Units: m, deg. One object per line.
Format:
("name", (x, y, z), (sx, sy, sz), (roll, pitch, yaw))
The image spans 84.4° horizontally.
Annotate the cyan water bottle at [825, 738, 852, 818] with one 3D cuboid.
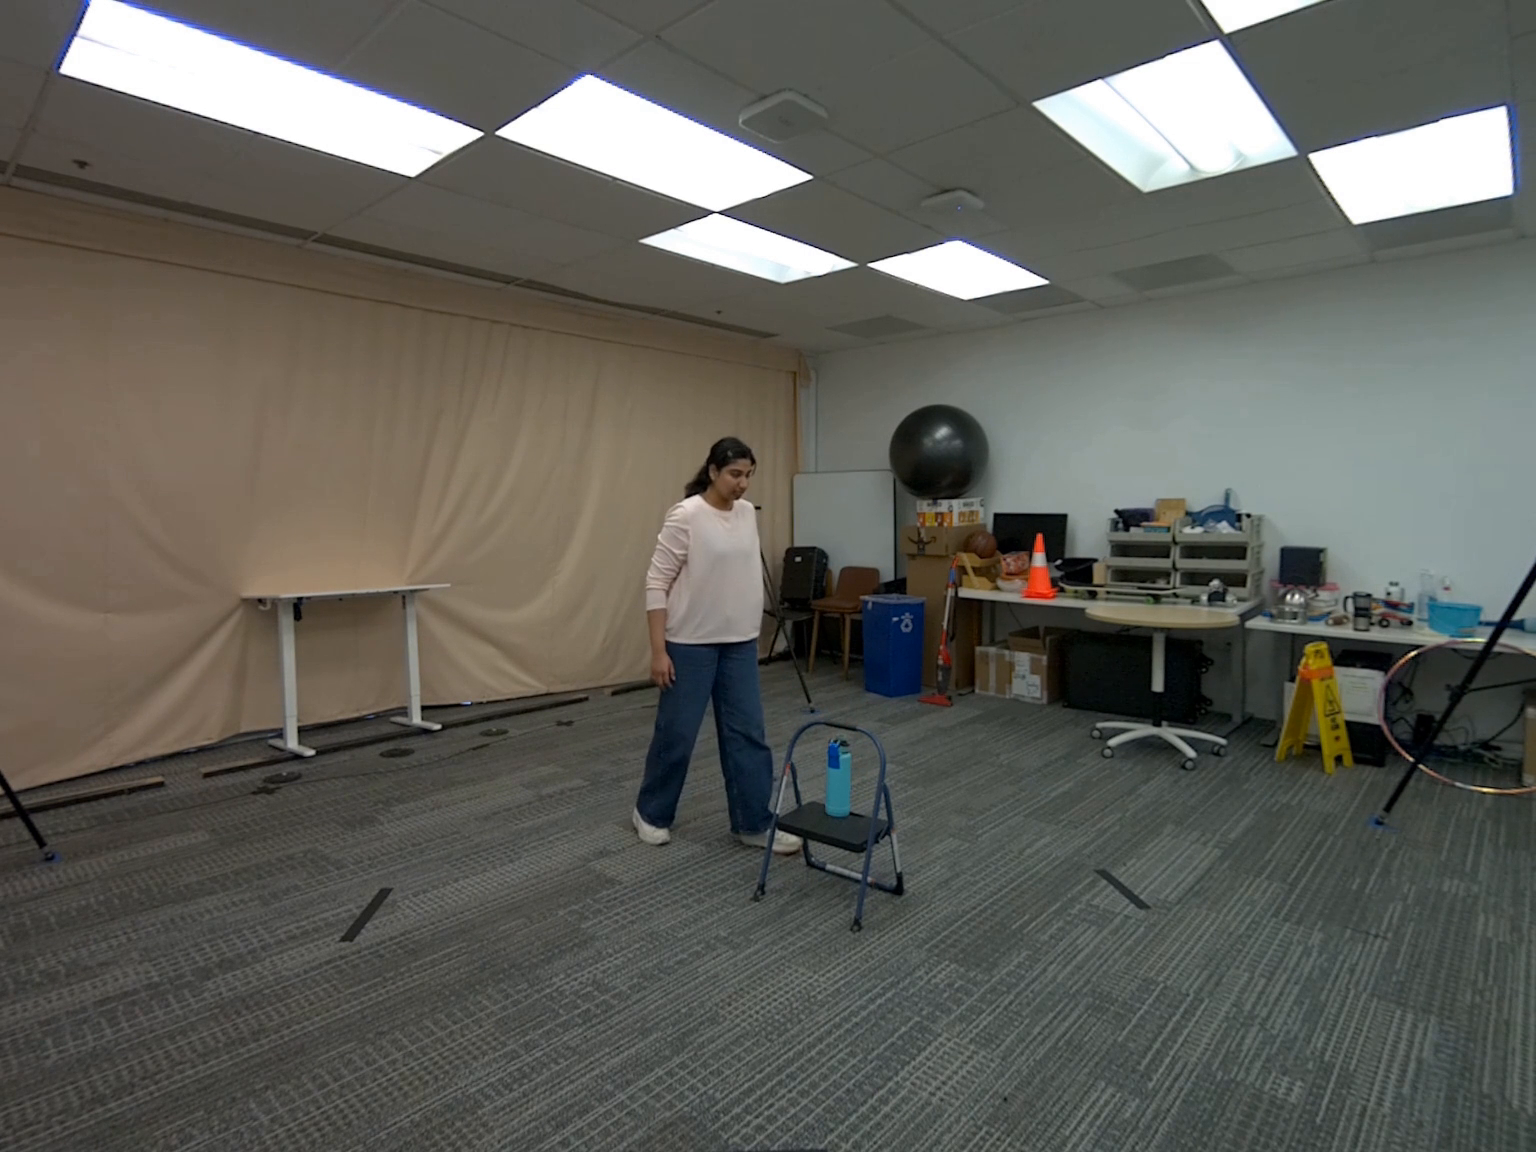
("cyan water bottle", (0.261, 0.734, 3.087), (0.092, 0.283, 0.092), (2, 3, -2))
